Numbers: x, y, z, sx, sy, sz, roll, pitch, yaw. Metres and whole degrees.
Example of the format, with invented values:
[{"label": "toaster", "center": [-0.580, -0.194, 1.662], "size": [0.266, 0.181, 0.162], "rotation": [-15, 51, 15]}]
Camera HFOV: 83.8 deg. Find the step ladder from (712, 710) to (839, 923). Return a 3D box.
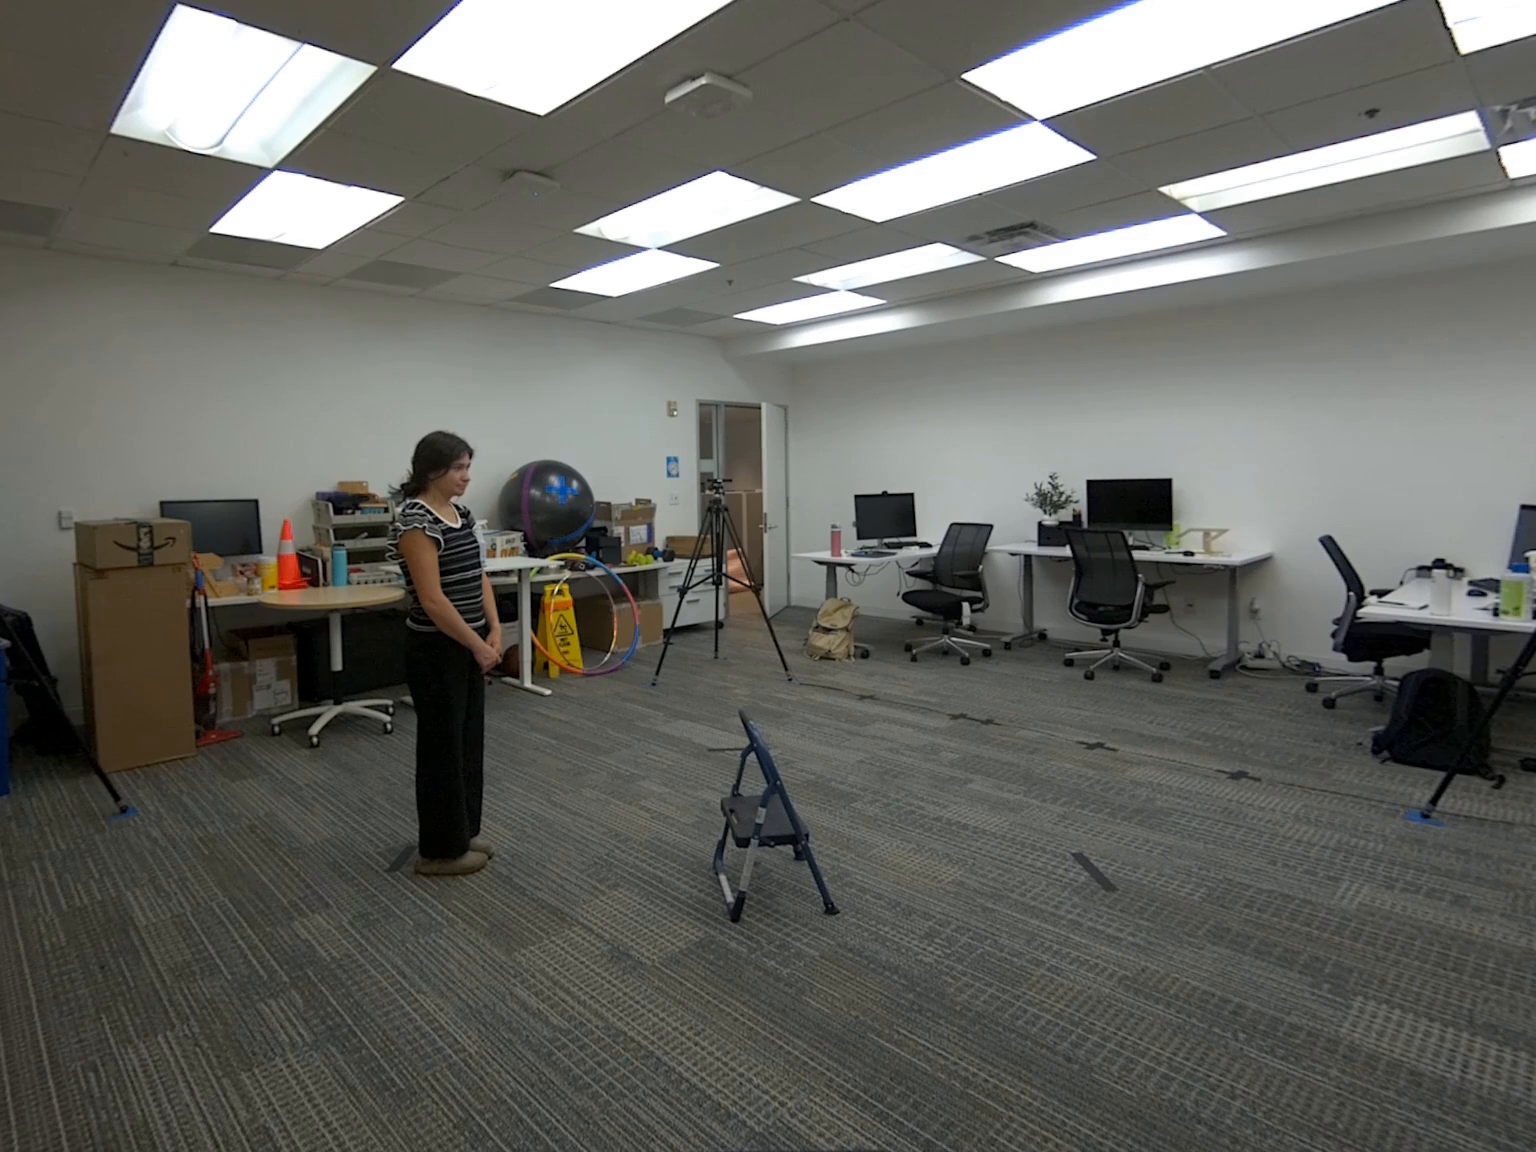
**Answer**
[{"label": "step ladder", "center": [0.004, 0.764, 2.897], "size": [0.346, 0.604, 0.437], "rotation": [-2, 5, -11]}]
